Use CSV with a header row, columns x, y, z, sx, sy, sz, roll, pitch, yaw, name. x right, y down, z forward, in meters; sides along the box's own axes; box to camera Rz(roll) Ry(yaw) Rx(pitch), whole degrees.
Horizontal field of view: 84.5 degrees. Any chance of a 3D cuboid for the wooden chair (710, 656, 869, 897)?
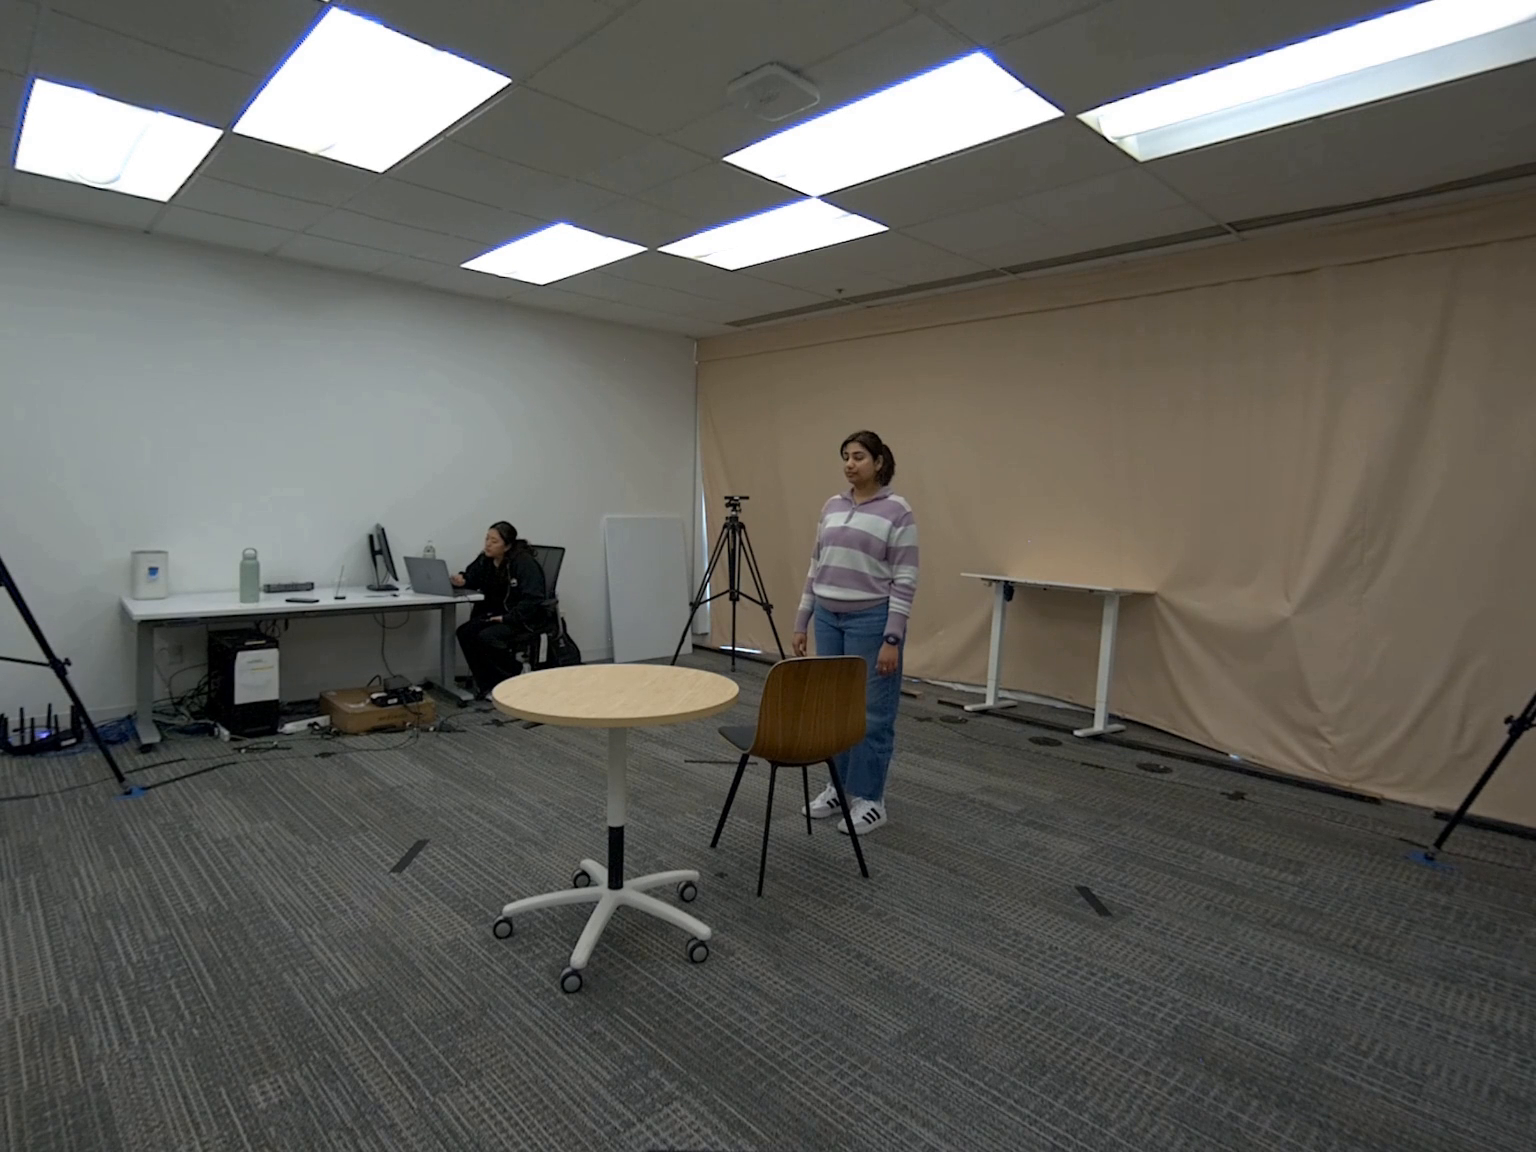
x,y,z,sx,sy,sz,roll,pitch,yaw,name
0.070,0.672,3.207,0.470,0.873,0.535,0,8,-24,wooden chair
